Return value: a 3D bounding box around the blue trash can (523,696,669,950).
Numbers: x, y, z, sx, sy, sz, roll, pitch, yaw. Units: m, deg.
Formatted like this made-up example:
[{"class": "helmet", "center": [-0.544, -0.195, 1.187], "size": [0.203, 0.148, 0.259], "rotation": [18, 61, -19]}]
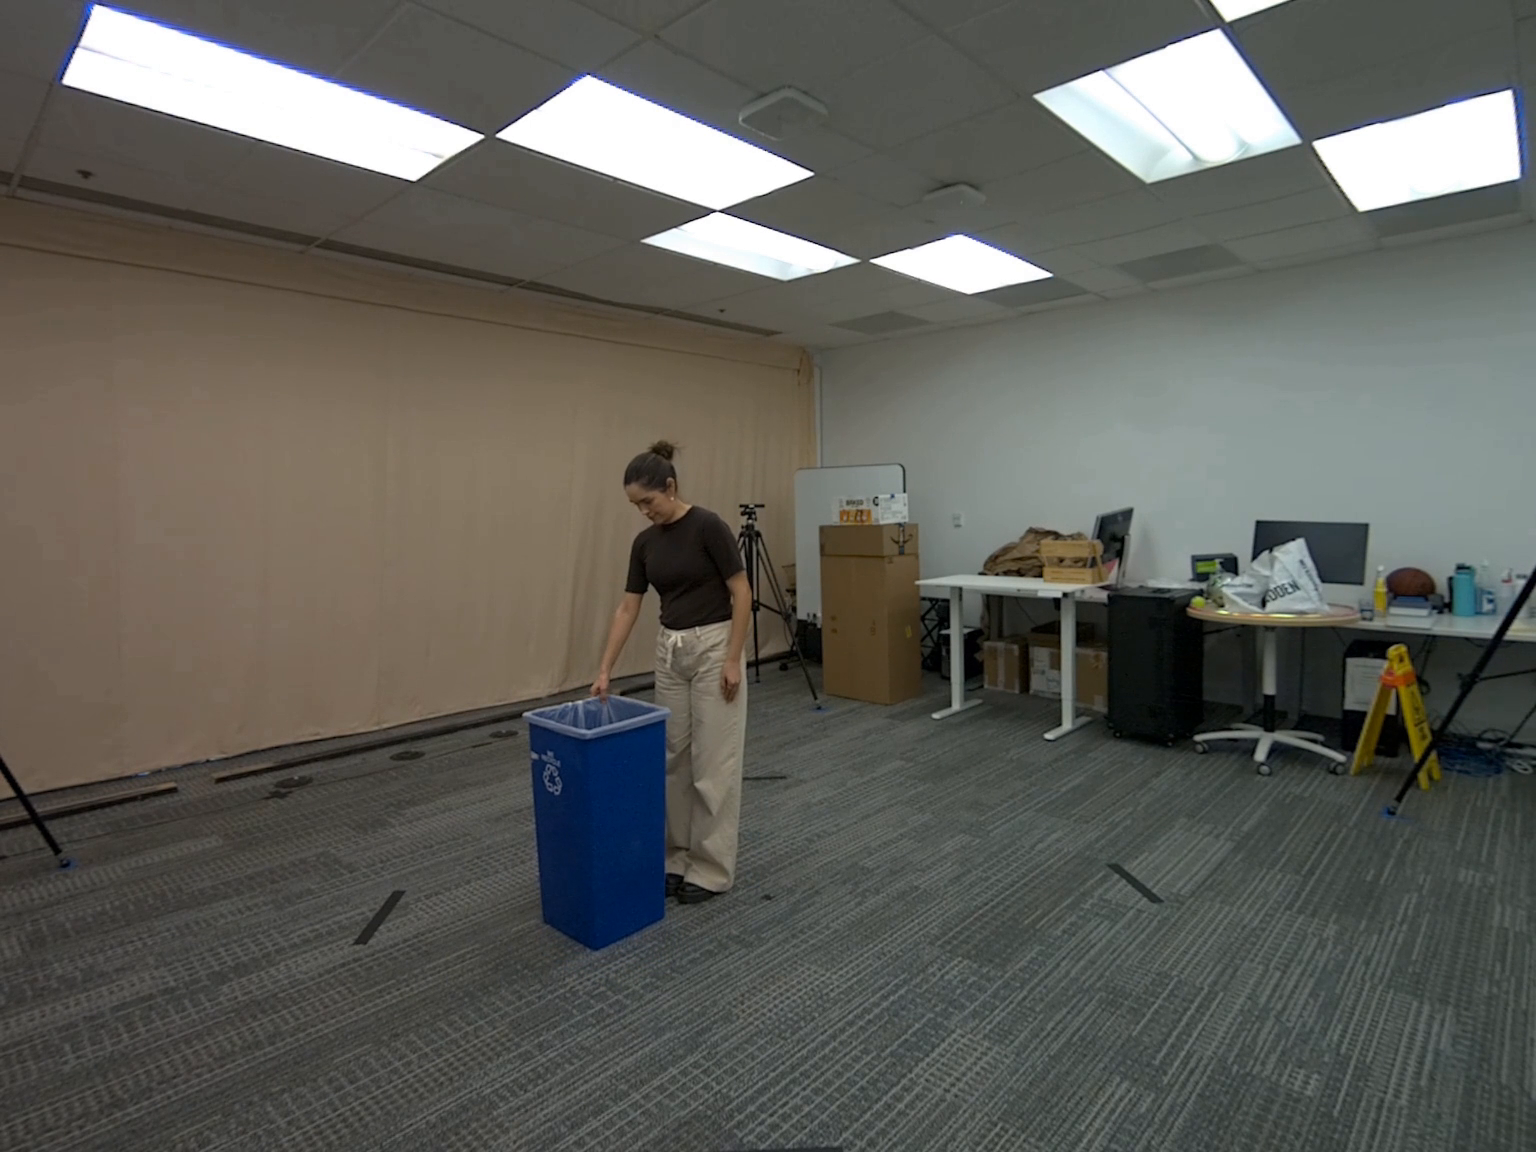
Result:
[{"class": "blue trash can", "center": [-0.566, 0.807, 2.821], "size": [0.390, 0.712, 0.363], "rotation": [2, 5, 42]}]
